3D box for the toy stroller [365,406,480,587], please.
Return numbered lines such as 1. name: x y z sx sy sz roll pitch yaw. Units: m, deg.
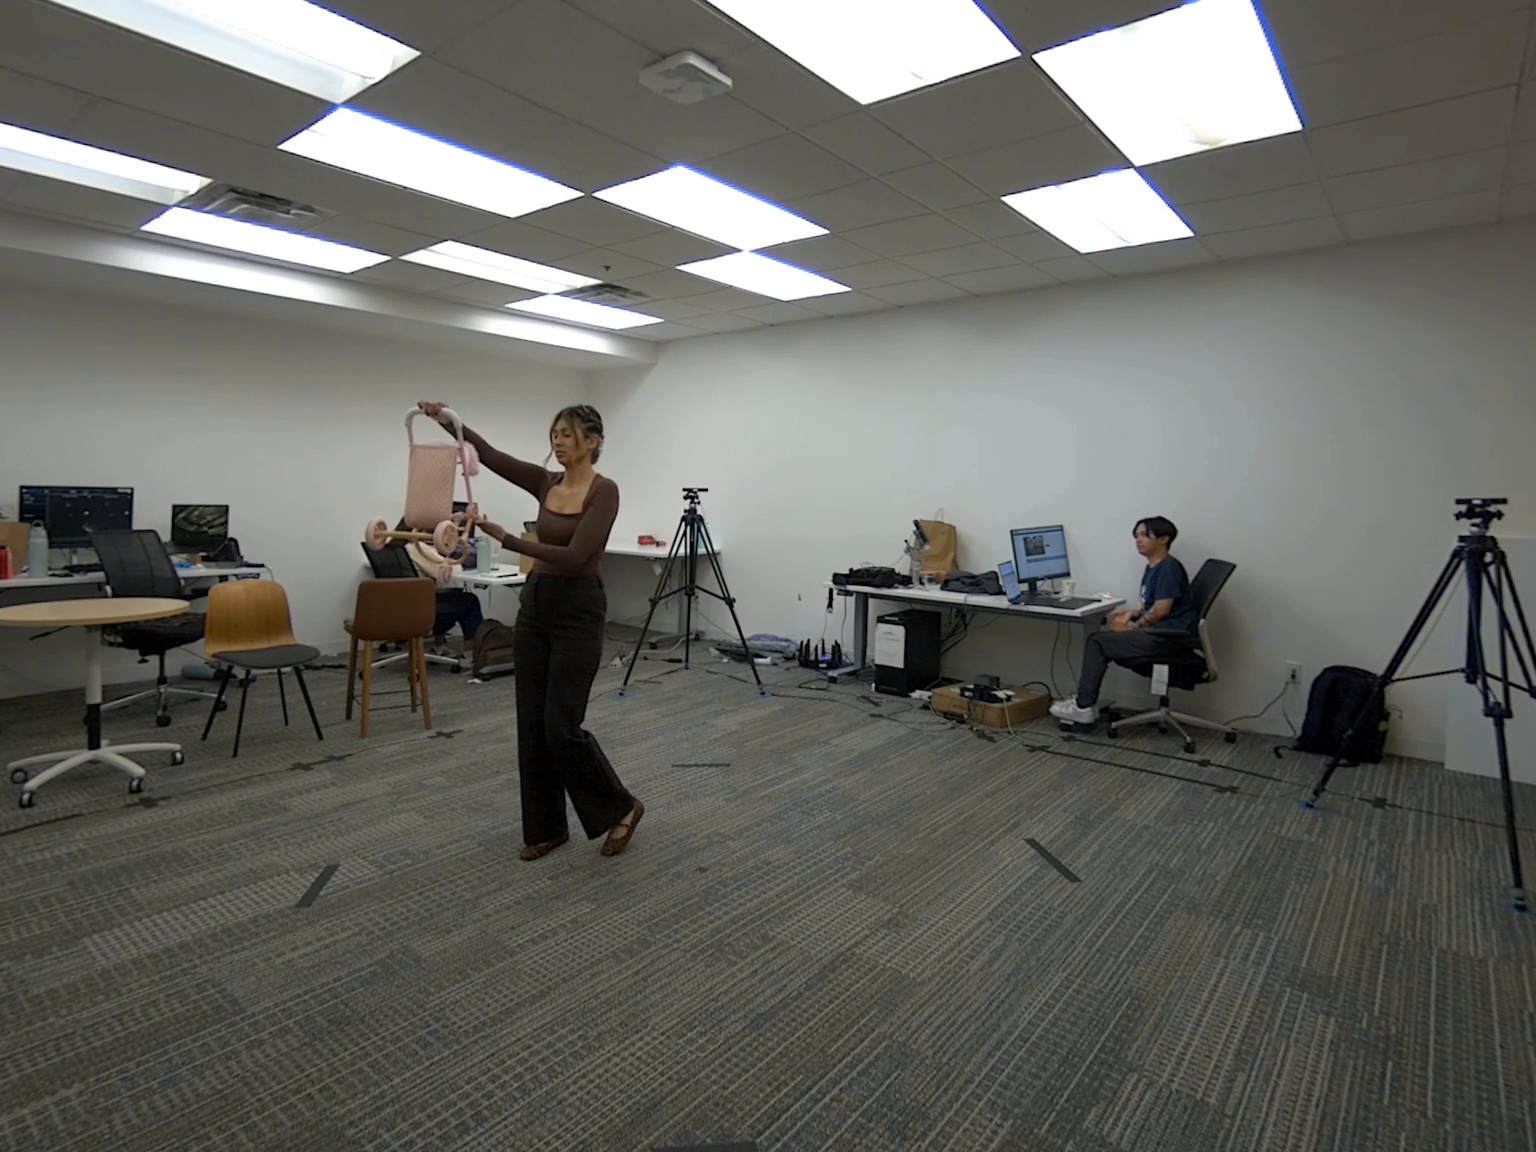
1. toy stroller: -1.119 -0.253 2.888 0.286 0.542 0.331 1 -16 15
